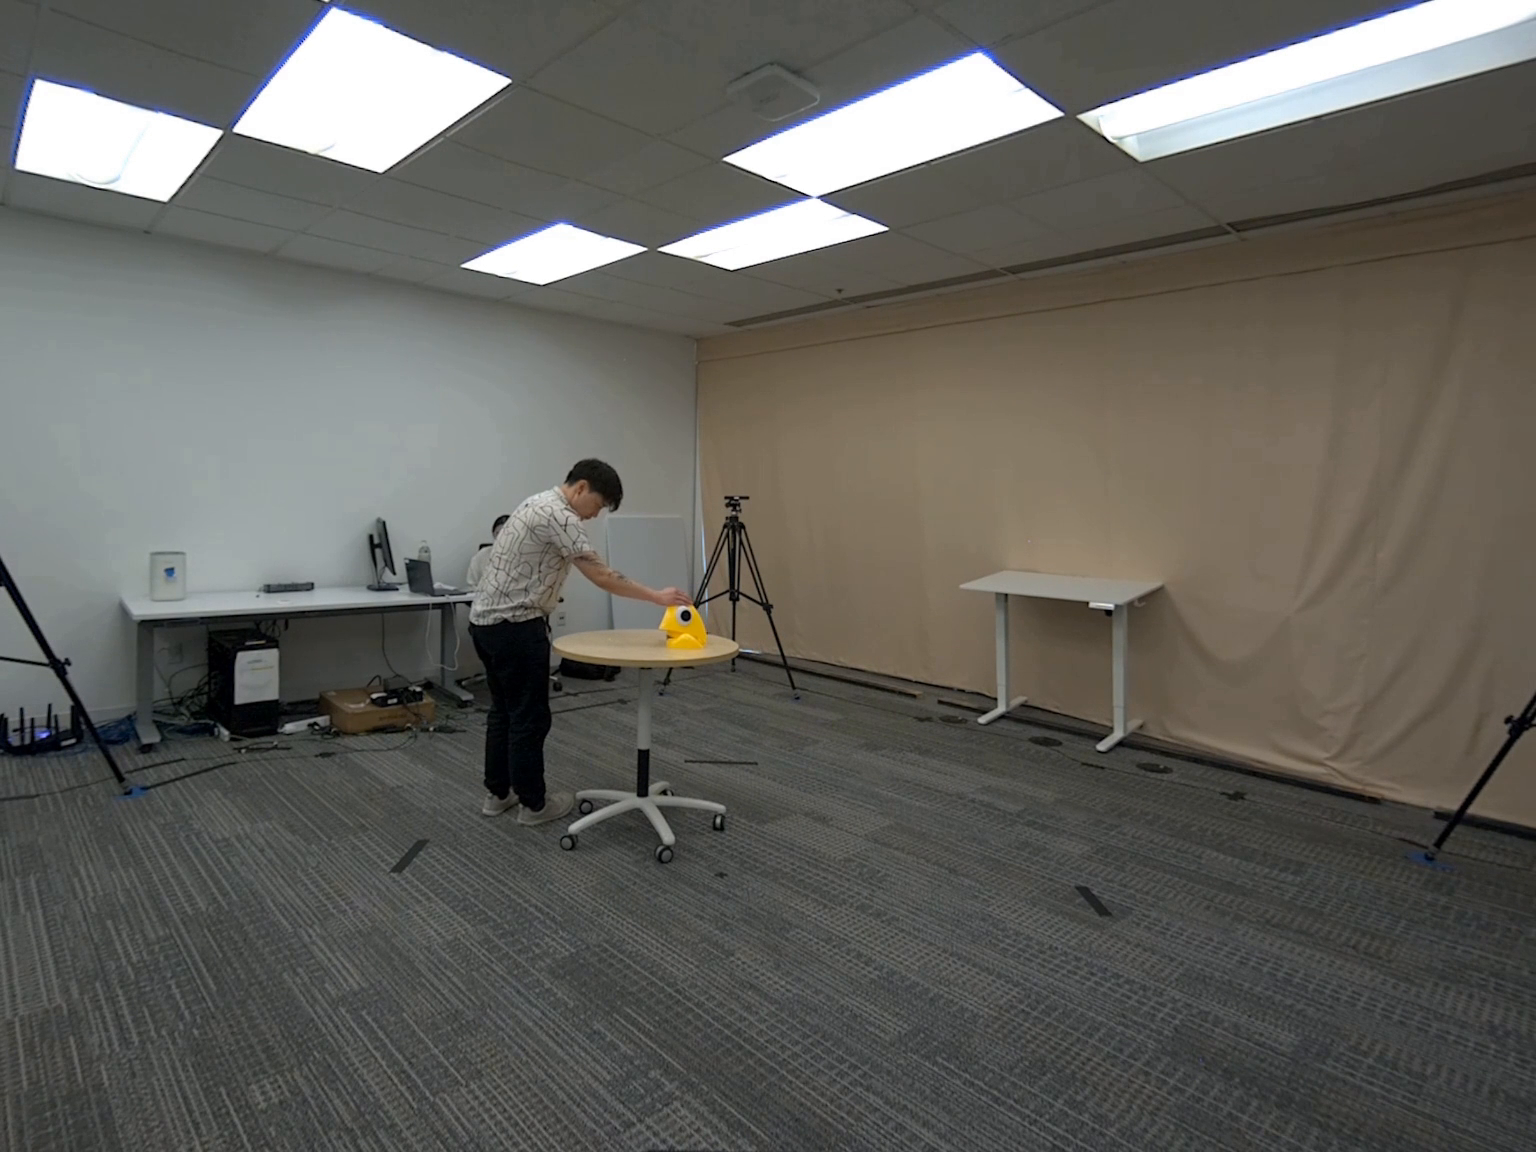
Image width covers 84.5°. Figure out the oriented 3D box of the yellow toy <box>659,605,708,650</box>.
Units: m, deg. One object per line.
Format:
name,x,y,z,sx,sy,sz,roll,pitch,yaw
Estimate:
yellow toy,-0.352,0.170,3.472,0.193,0.230,0.205,2,2,0
